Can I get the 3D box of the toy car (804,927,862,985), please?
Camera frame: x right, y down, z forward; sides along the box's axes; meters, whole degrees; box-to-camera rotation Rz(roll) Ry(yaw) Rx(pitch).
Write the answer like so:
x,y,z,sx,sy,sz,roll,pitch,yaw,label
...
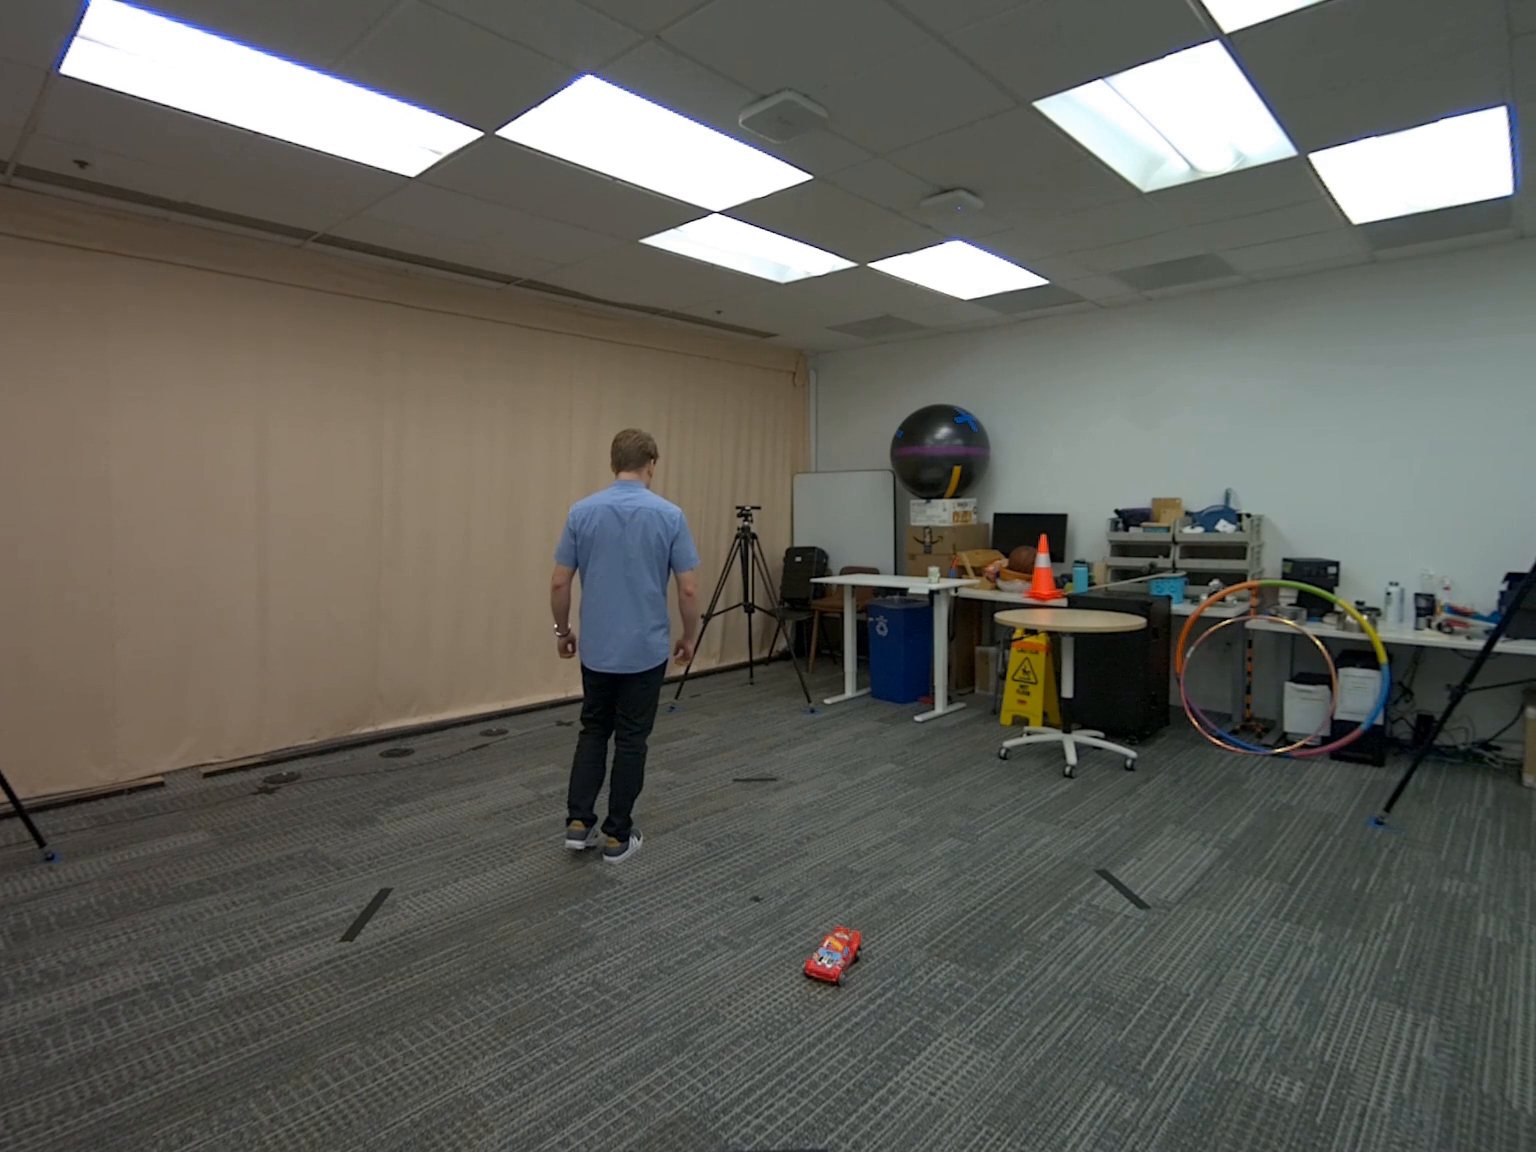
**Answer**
x,y,z,sx,sy,sz,roll,pitch,yaw,label
0.209,1.148,2.548,0.134,0.082,0.250,2,17,28,toy car
